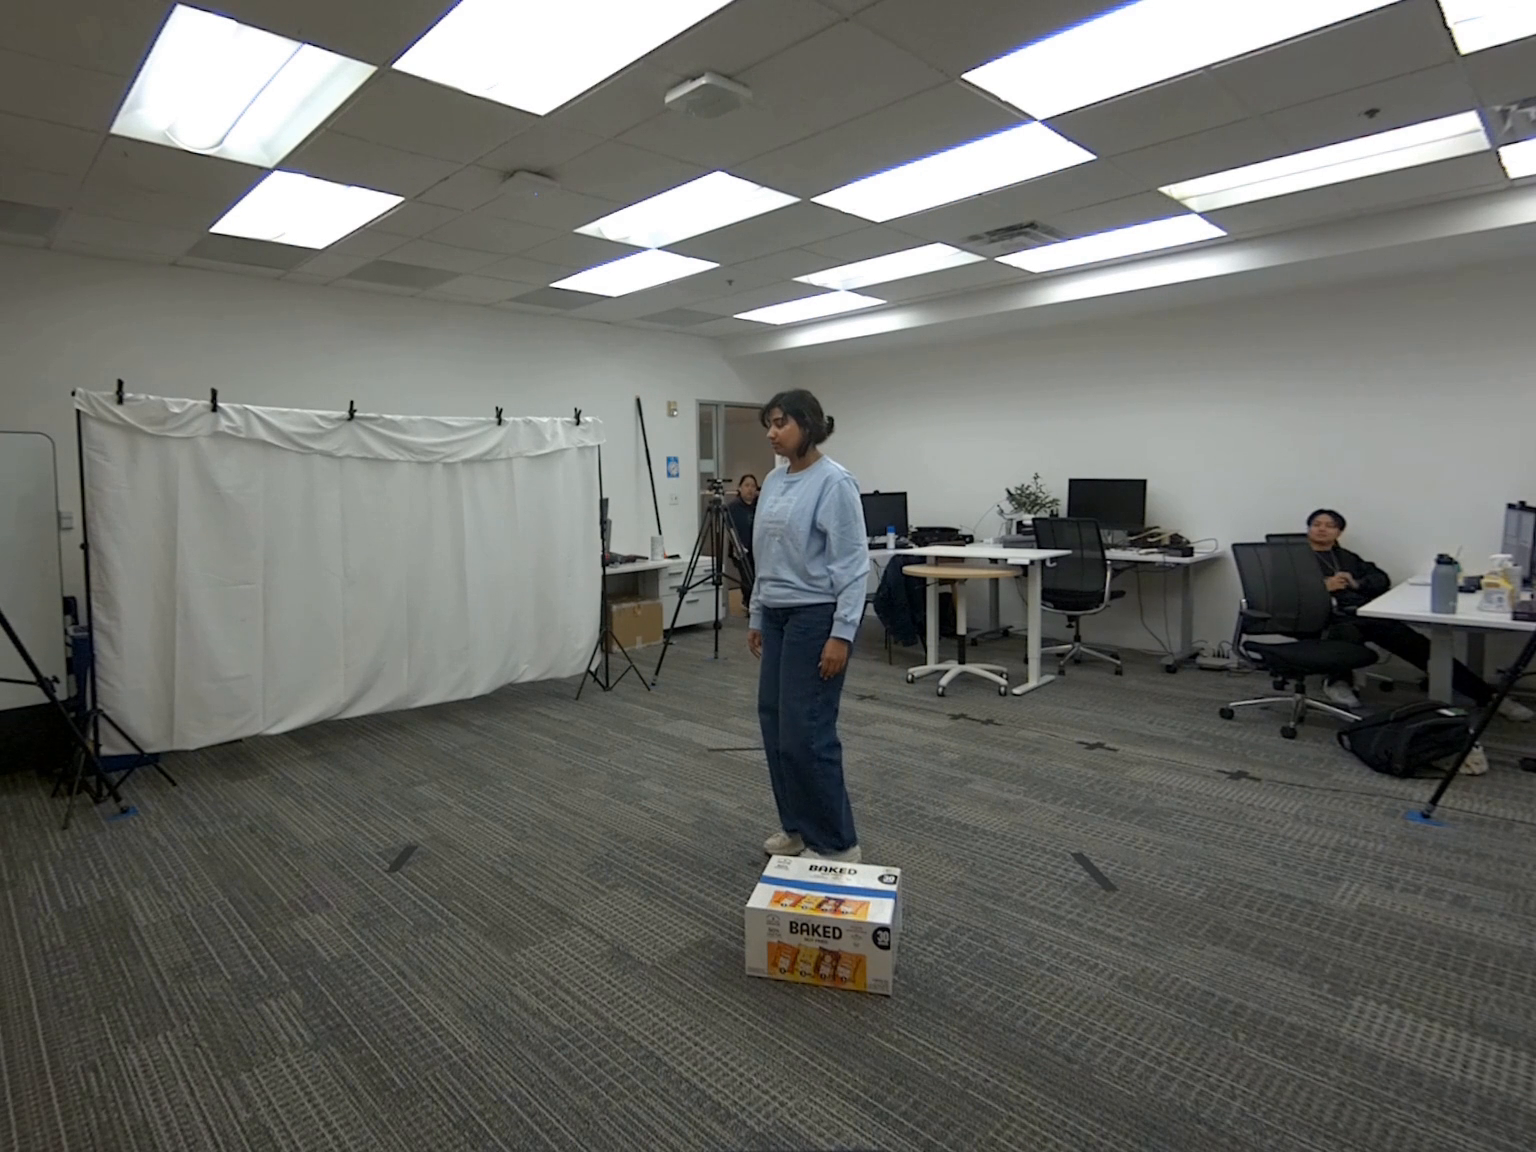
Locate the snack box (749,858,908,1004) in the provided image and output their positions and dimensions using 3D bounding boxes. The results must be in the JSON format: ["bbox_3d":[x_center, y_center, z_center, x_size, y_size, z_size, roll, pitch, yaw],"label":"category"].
[{"bbox_3d":[0.185,1.016,2.502,0.411,0.205,0.337,0,6,15],"label":"snack box"}]
